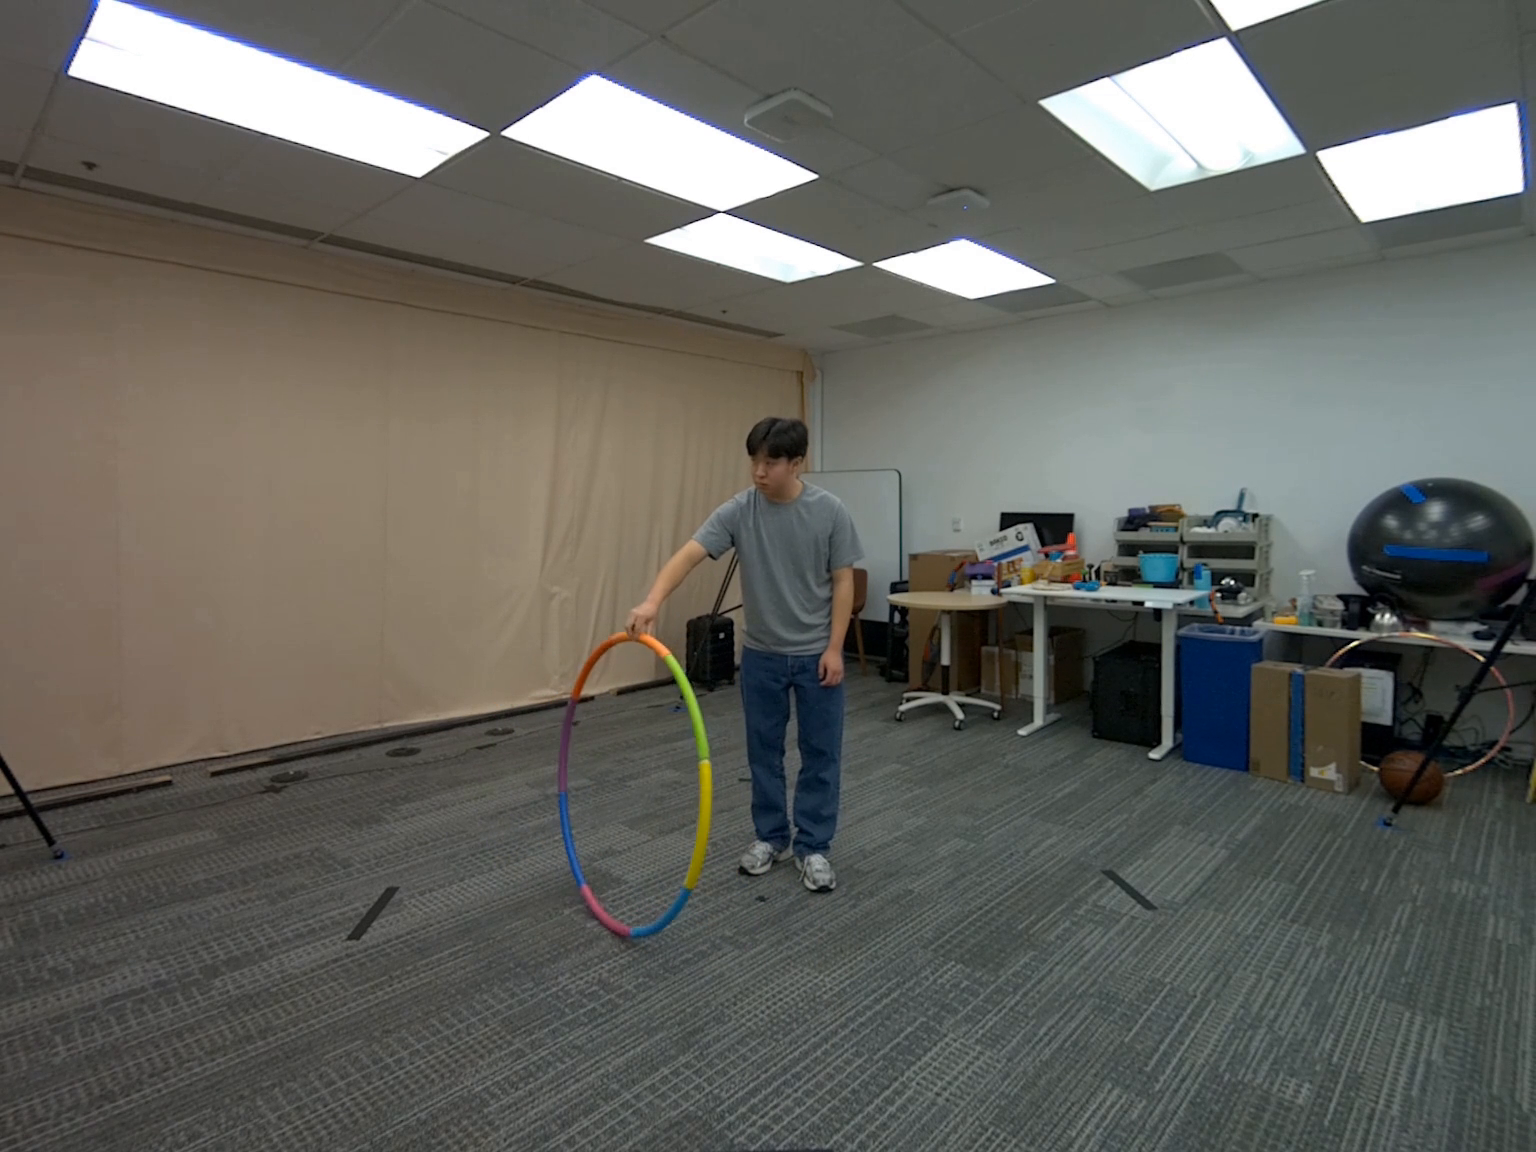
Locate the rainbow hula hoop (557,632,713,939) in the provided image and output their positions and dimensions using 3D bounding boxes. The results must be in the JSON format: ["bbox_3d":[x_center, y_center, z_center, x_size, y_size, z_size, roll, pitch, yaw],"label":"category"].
[{"bbox_3d":[-0.478,0.676,2.821,0.034,0.979,1.010,10,-2,-36],"label":"rainbow hula hoop"}]
